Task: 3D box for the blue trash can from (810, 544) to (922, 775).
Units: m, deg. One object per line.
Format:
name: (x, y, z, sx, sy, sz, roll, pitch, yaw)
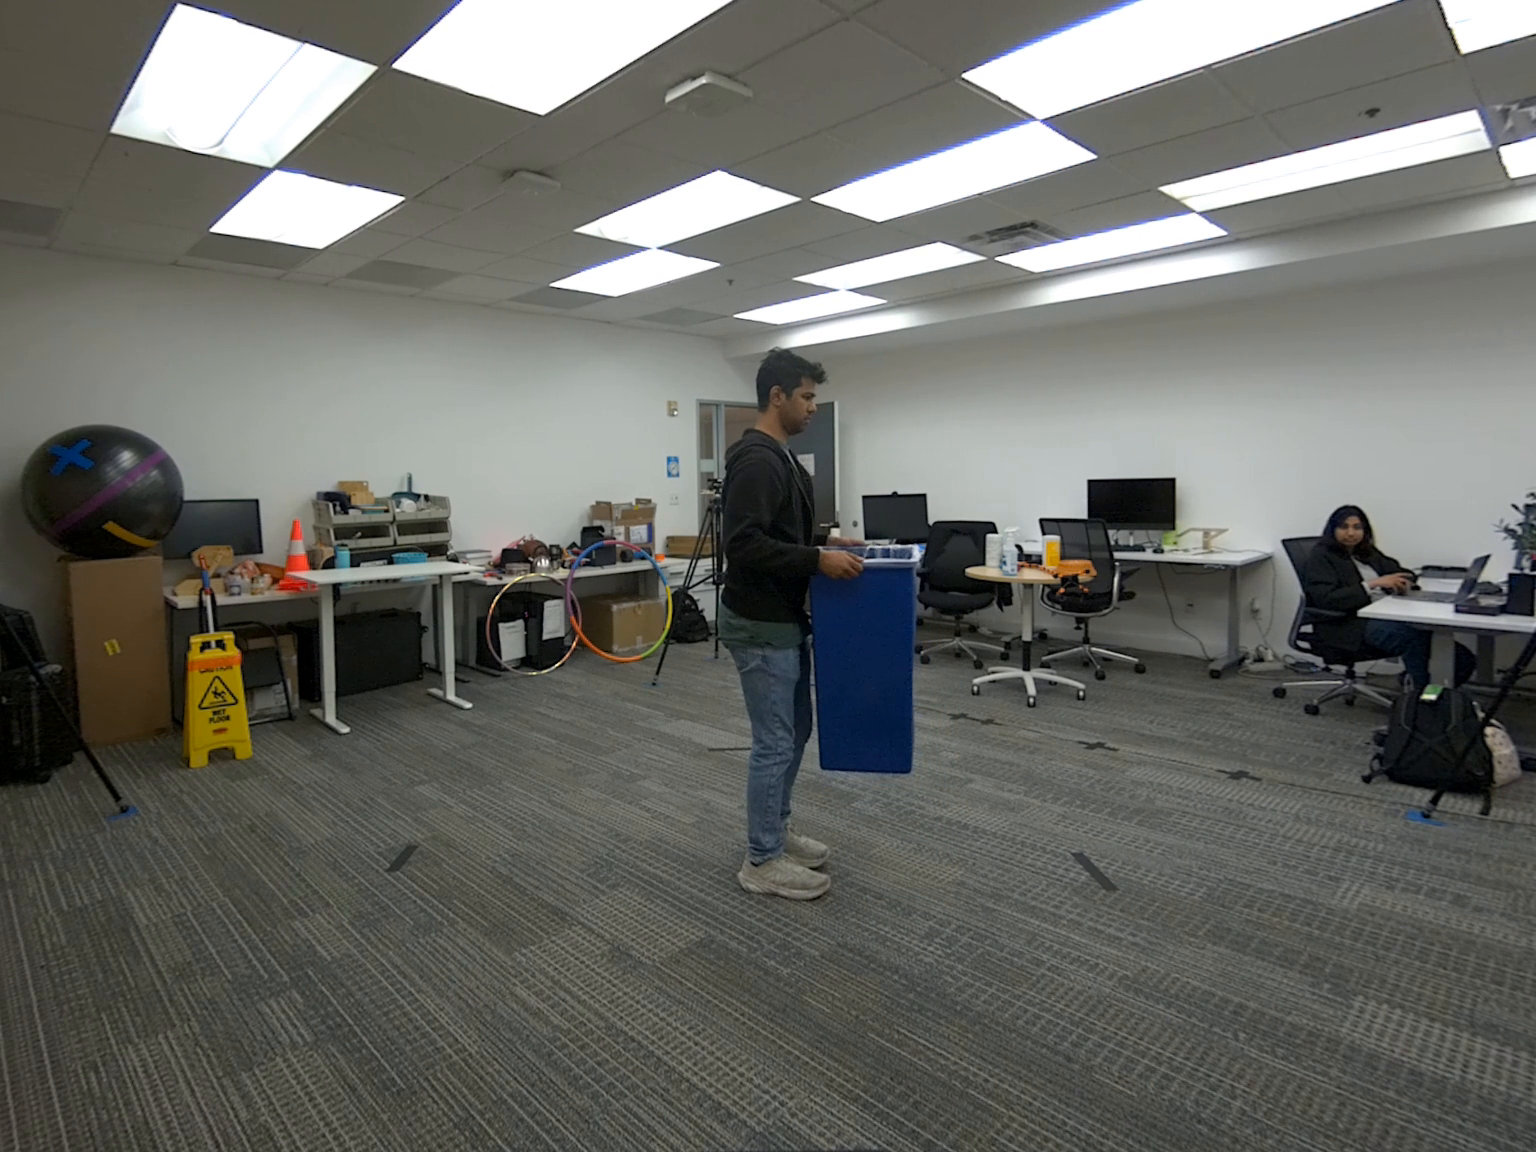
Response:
blue trash can: (0.331, 0.275, 2.925, 0.383, 0.709, 0.372, -1, 7, 12)
